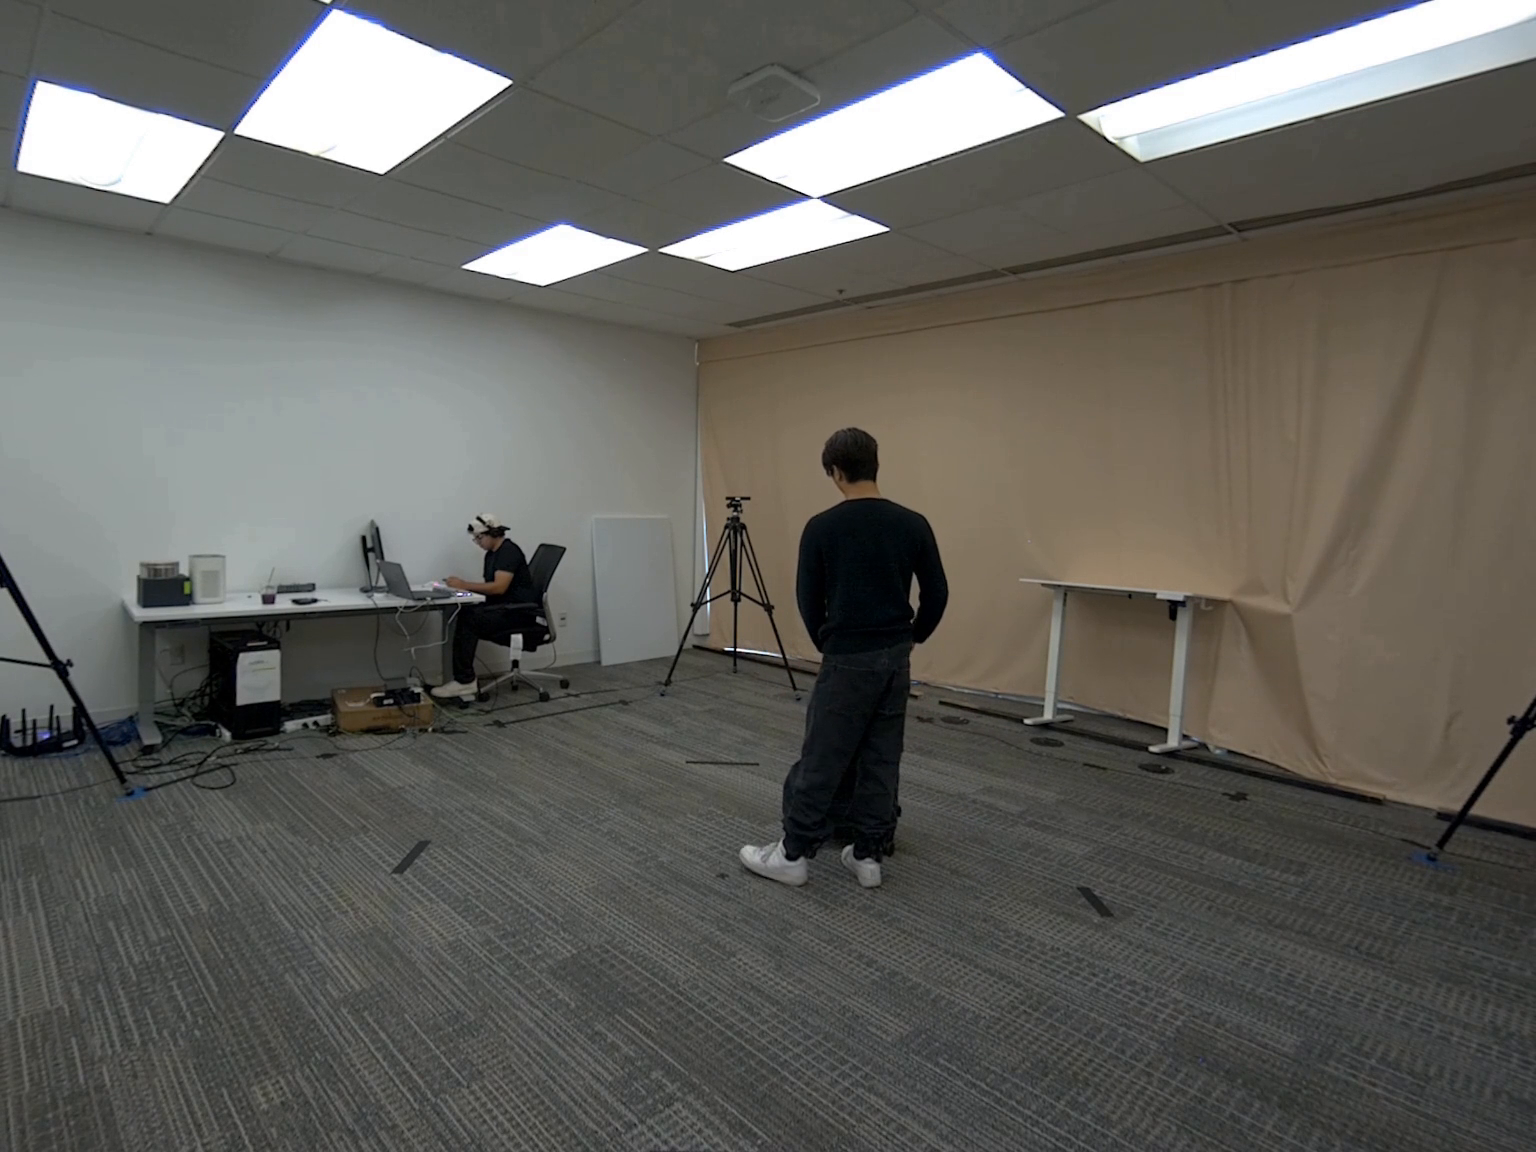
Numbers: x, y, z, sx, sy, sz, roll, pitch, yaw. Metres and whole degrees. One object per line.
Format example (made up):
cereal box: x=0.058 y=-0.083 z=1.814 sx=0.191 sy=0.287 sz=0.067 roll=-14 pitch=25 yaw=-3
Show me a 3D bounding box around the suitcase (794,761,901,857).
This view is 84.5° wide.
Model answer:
suitcase: x=0.359 y=0.613 z=3.446 sx=0.386 sy=0.978 sz=0.256 roll=3 pitch=1 yaw=5
